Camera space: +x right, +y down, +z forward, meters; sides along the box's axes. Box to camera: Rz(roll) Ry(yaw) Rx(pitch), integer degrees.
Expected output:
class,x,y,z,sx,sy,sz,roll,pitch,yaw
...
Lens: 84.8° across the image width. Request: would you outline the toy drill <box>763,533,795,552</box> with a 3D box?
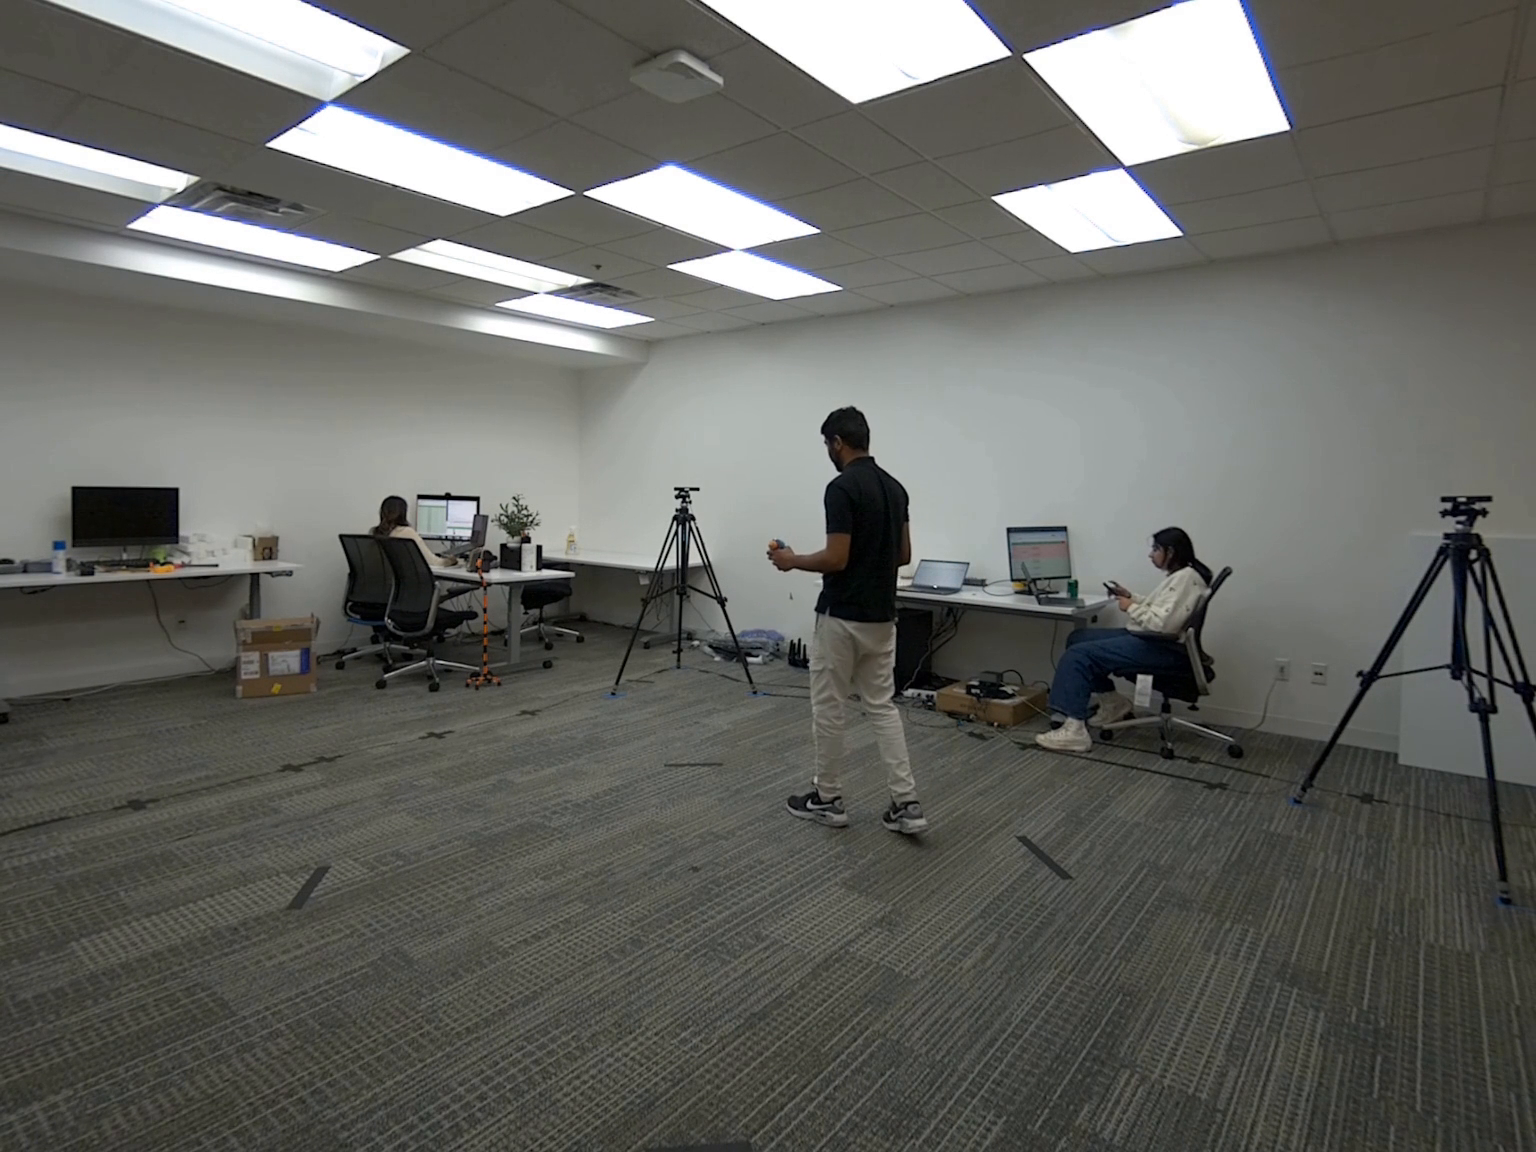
class,x,y,z,sx,sy,sz,roll,pitch,yaw
toy drill,0.063,-0.103,3.622,0.061,0.148,0.167,-33,-9,12
